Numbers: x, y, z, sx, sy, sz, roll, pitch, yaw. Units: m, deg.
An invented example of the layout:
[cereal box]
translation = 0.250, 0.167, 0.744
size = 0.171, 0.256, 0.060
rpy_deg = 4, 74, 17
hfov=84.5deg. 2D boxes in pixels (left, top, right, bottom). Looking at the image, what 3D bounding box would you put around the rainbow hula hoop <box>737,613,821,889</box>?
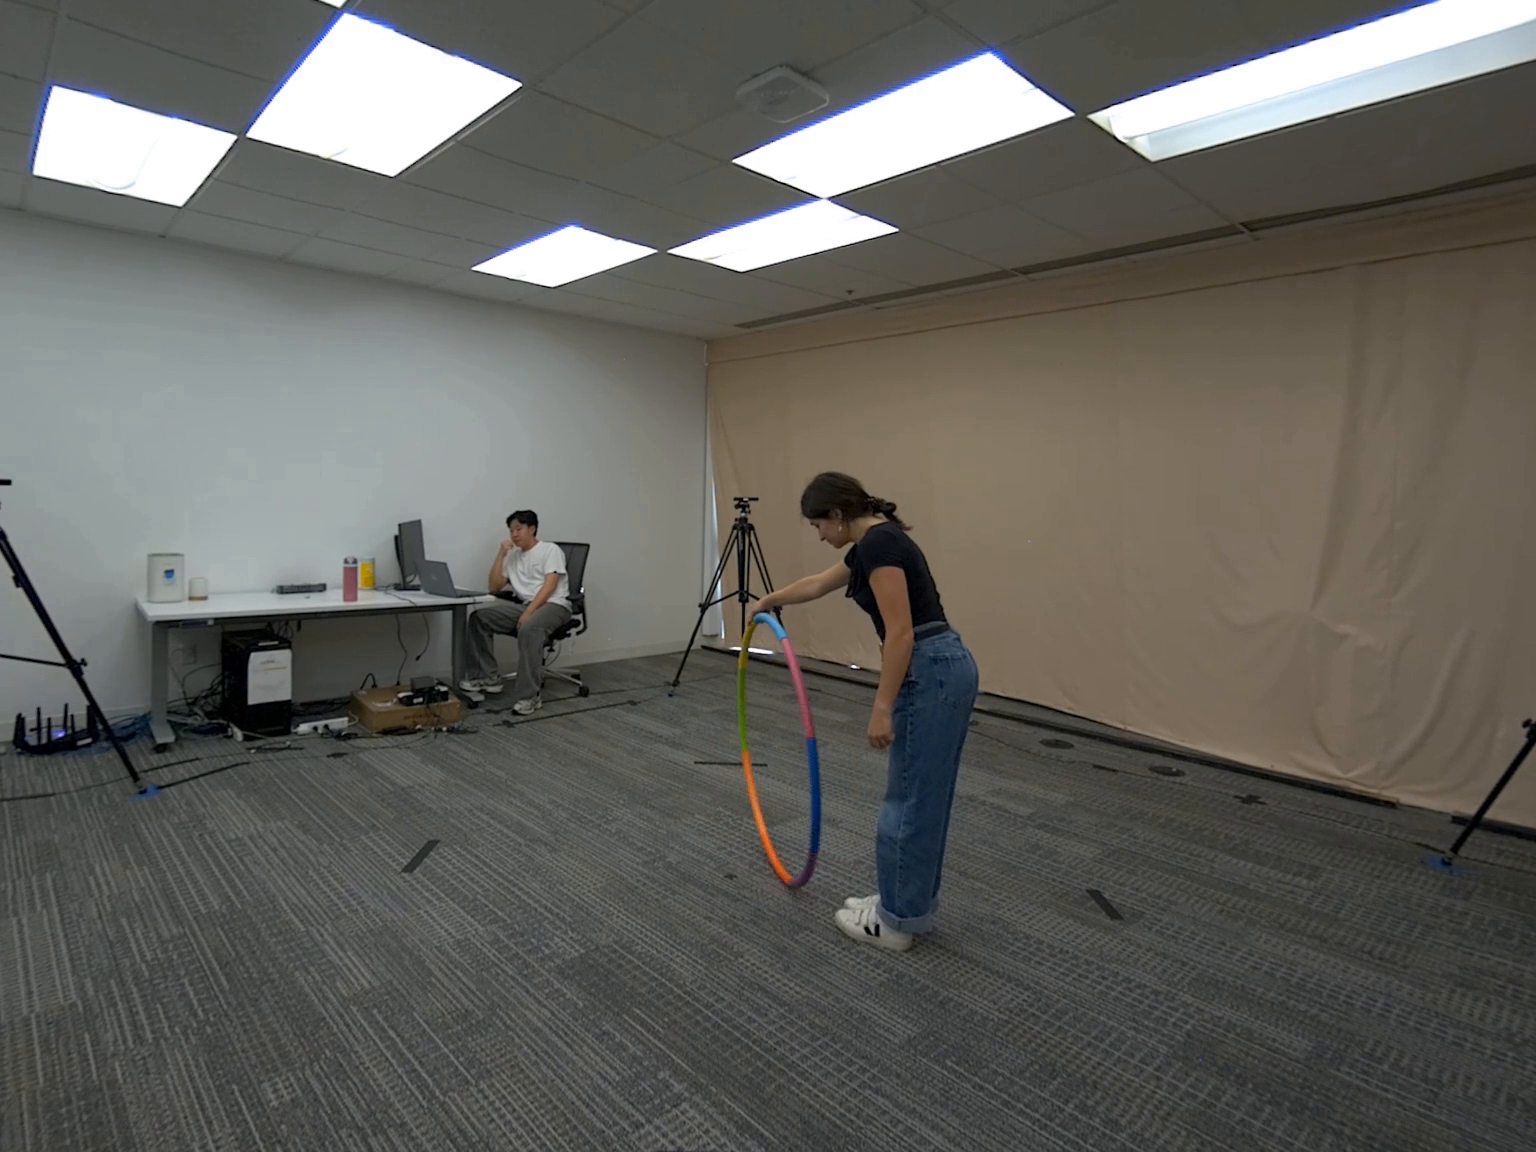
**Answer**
[rainbow hula hoop]
translation = 0.013, 0.629, 3.091
size = 0.035, 0.975, 0.992
rpy_deg = -4, 5, -15
